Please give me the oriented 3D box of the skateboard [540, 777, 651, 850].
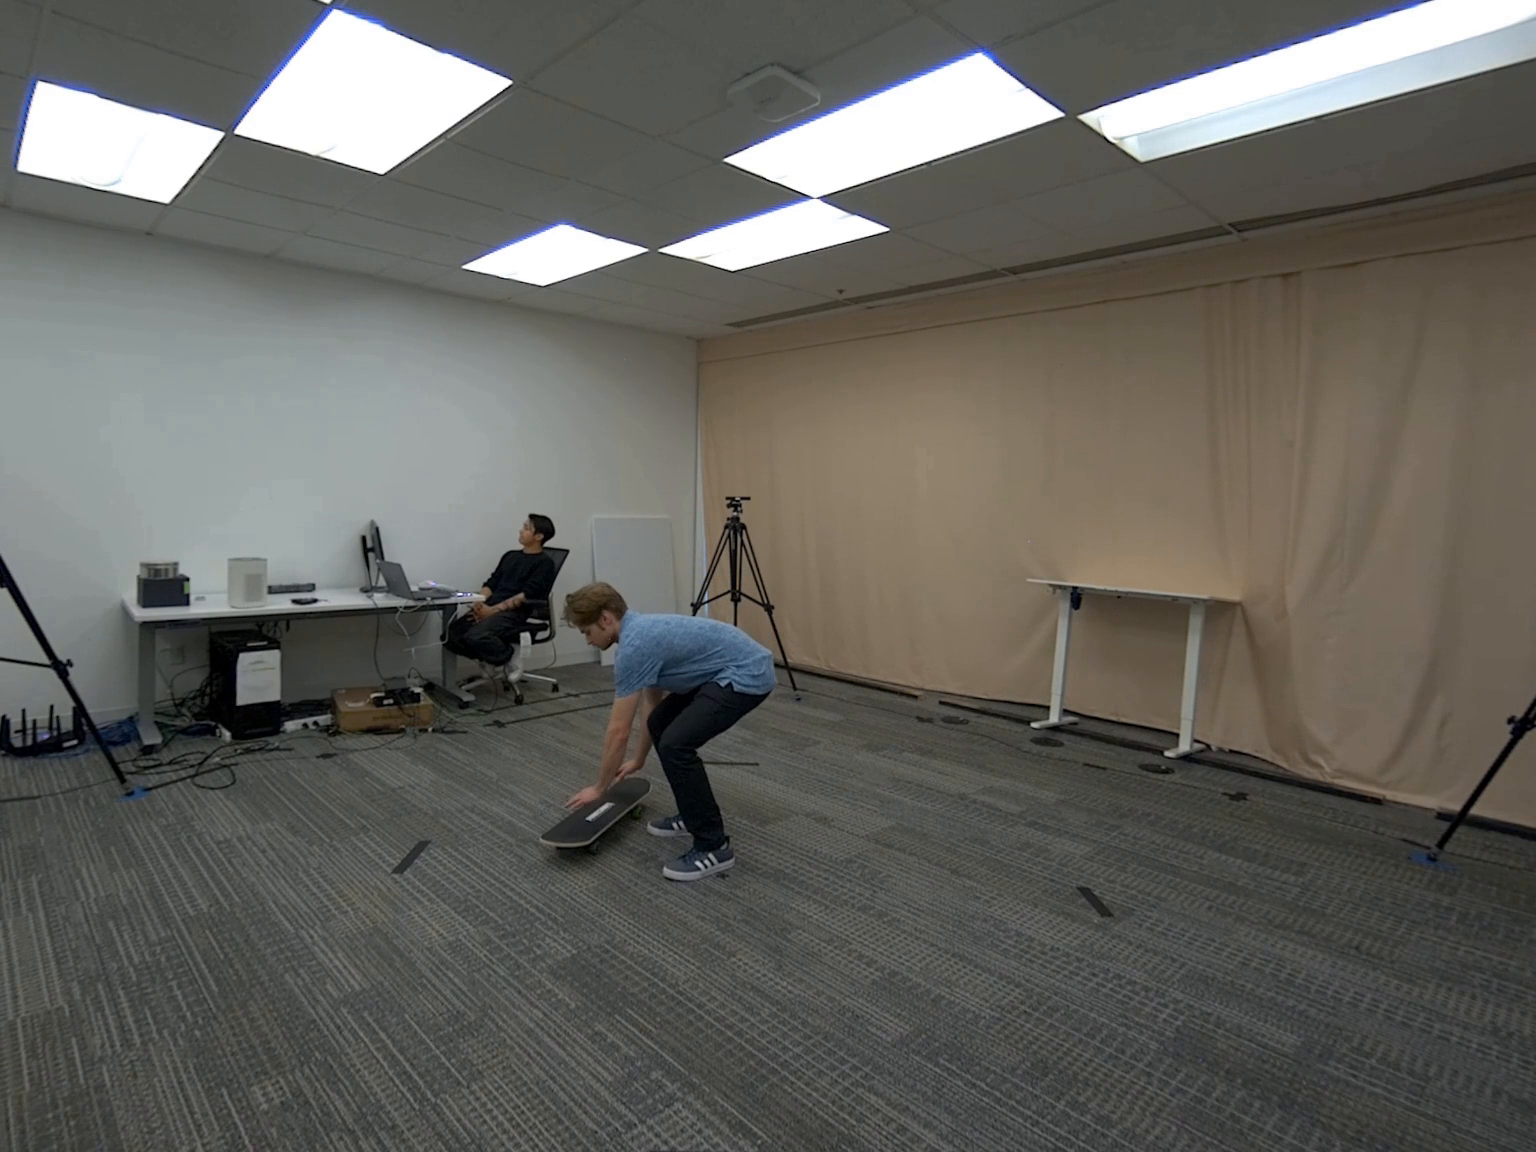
[{"bbox_3d":[-0.699,1.003,3.483,0.196,0.110,0.777,3,5,15],"label":"skateboard"}]
